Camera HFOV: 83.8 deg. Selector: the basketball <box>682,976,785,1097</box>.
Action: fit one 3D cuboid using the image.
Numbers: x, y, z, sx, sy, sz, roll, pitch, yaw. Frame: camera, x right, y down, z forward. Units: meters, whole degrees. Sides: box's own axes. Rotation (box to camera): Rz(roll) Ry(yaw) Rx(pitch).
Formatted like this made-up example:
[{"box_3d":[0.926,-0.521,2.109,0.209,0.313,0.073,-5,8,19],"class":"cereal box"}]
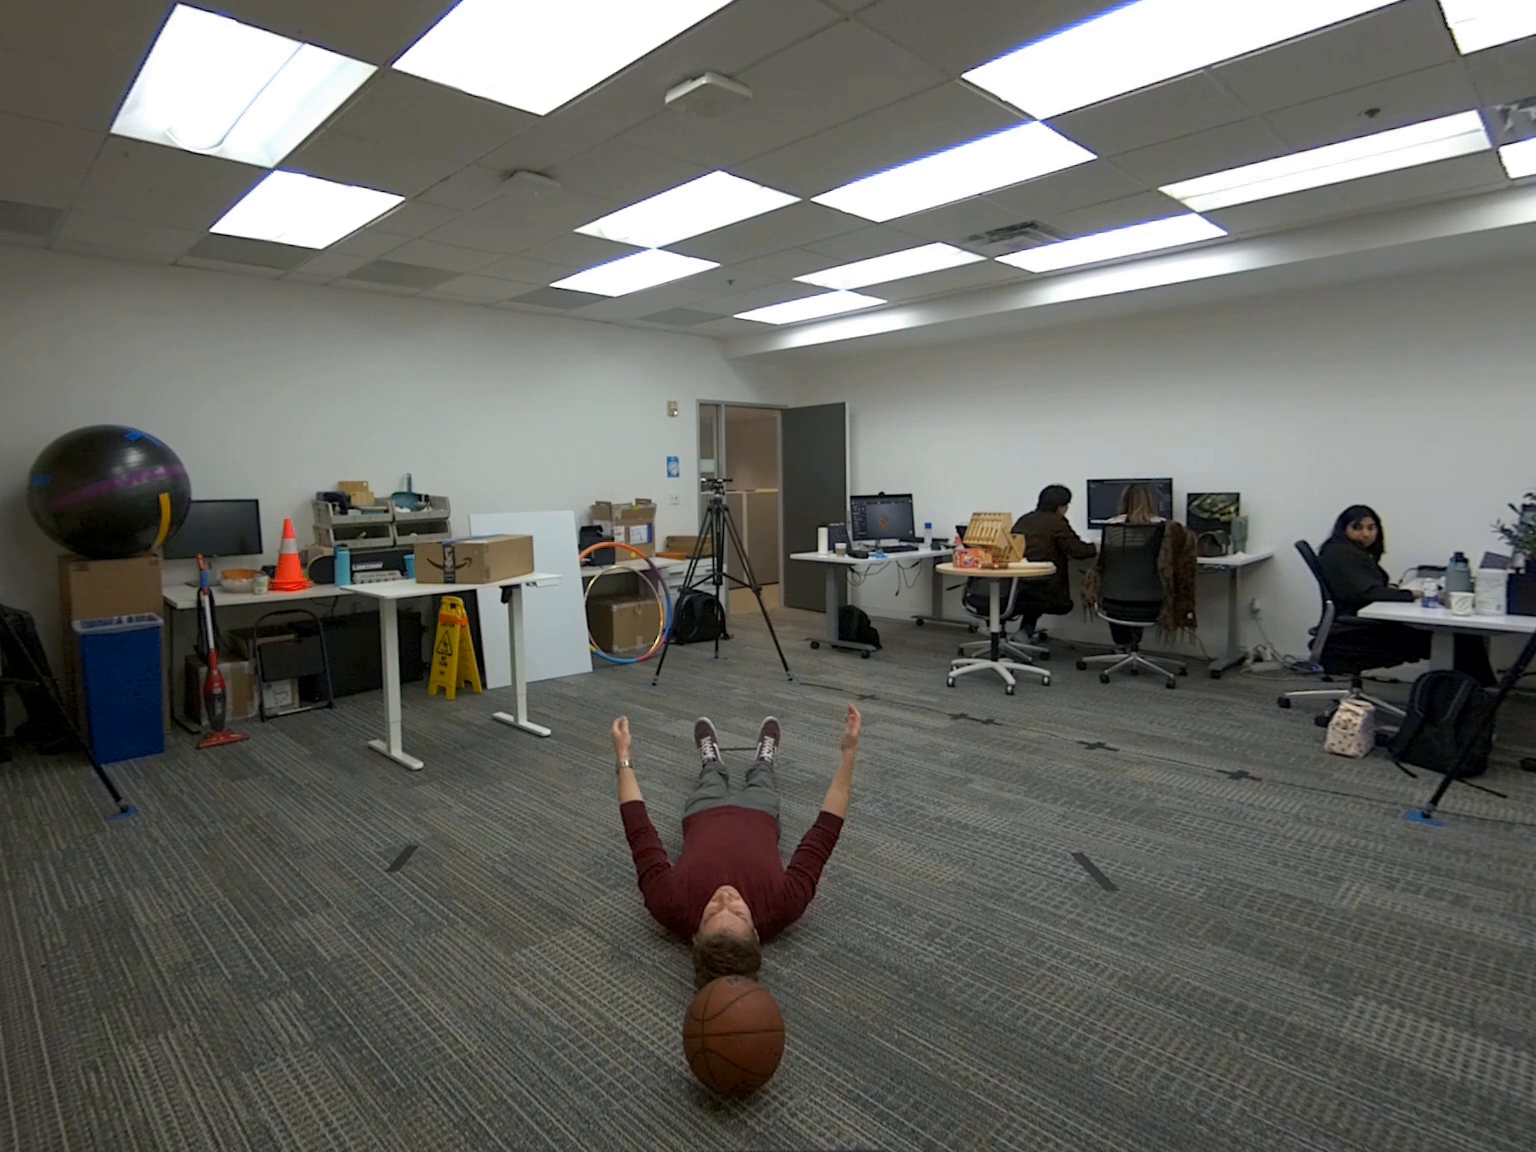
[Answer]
[{"box_3d":[-0.069,1.062,1.973,0.236,0.235,0.237,-1,5,-2],"class":"basketball"}]
